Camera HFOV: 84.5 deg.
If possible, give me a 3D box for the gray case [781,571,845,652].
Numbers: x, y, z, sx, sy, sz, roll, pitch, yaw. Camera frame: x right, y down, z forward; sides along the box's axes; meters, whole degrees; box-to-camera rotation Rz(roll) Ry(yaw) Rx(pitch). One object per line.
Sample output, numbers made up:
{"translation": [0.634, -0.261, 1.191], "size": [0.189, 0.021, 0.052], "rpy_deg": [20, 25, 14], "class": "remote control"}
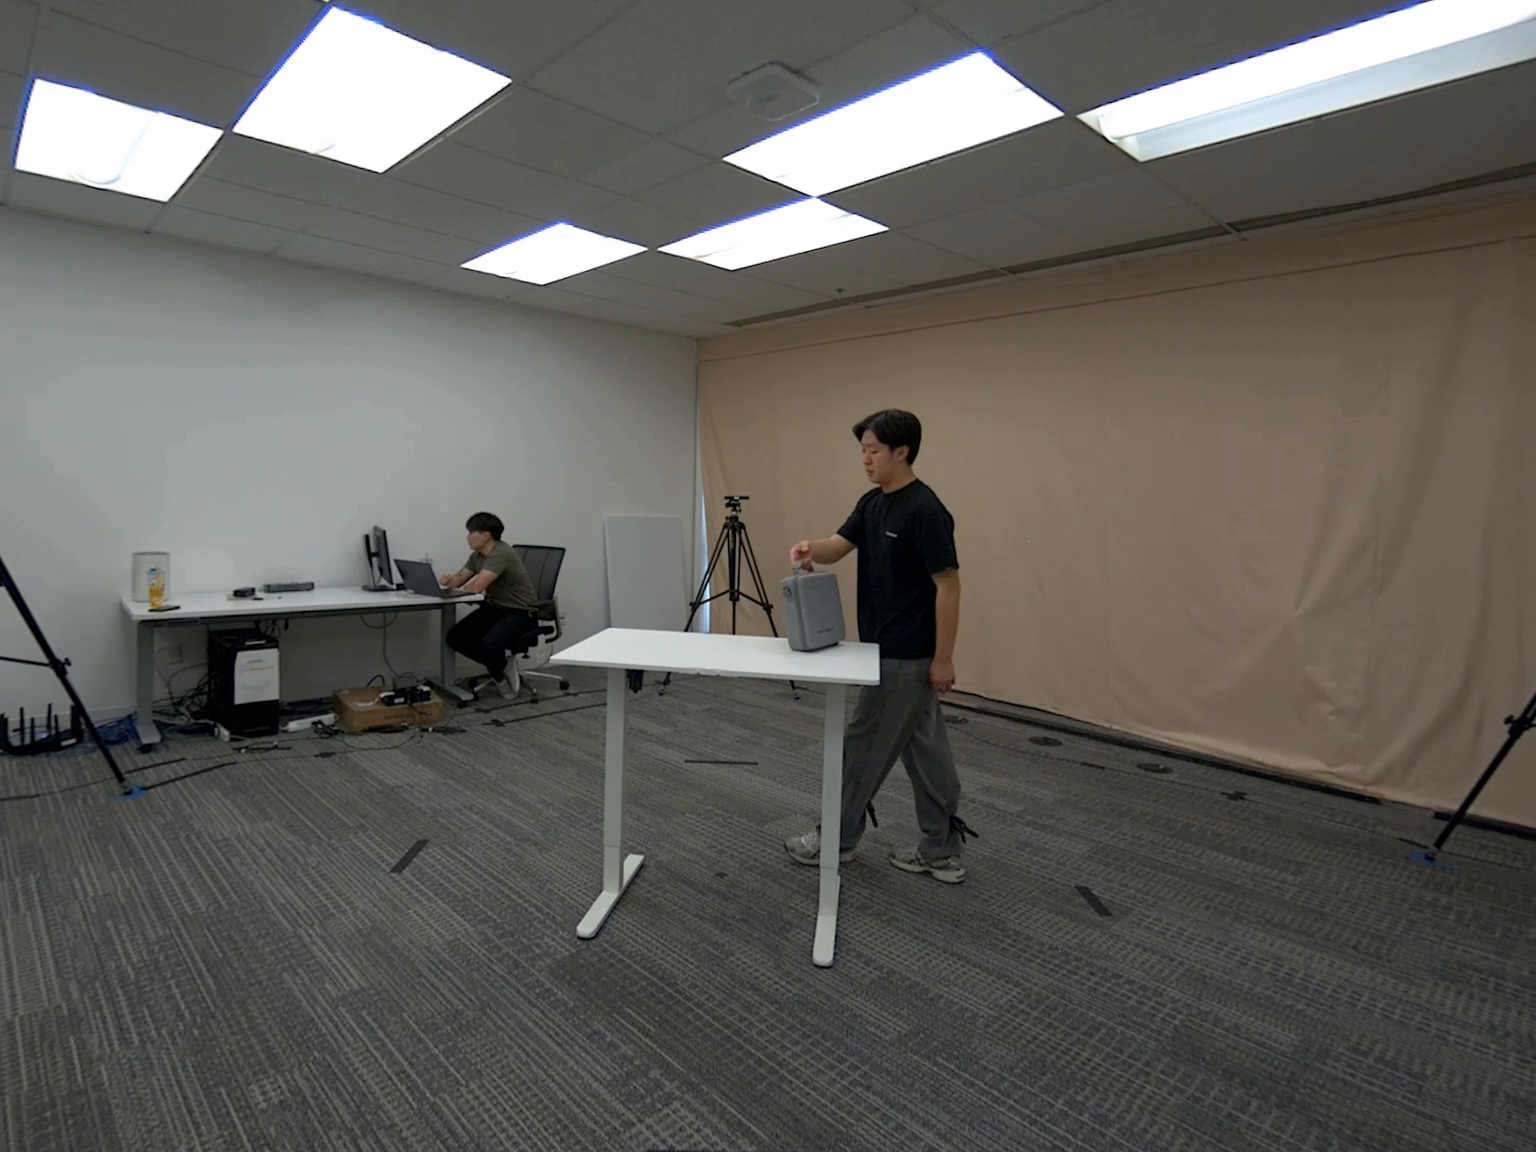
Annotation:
{"translation": [0.139, 0.110, 2.902], "size": [0.105, 0.288, 0.257], "rpy_deg": [-9, -4, 33], "class": "gray case"}
